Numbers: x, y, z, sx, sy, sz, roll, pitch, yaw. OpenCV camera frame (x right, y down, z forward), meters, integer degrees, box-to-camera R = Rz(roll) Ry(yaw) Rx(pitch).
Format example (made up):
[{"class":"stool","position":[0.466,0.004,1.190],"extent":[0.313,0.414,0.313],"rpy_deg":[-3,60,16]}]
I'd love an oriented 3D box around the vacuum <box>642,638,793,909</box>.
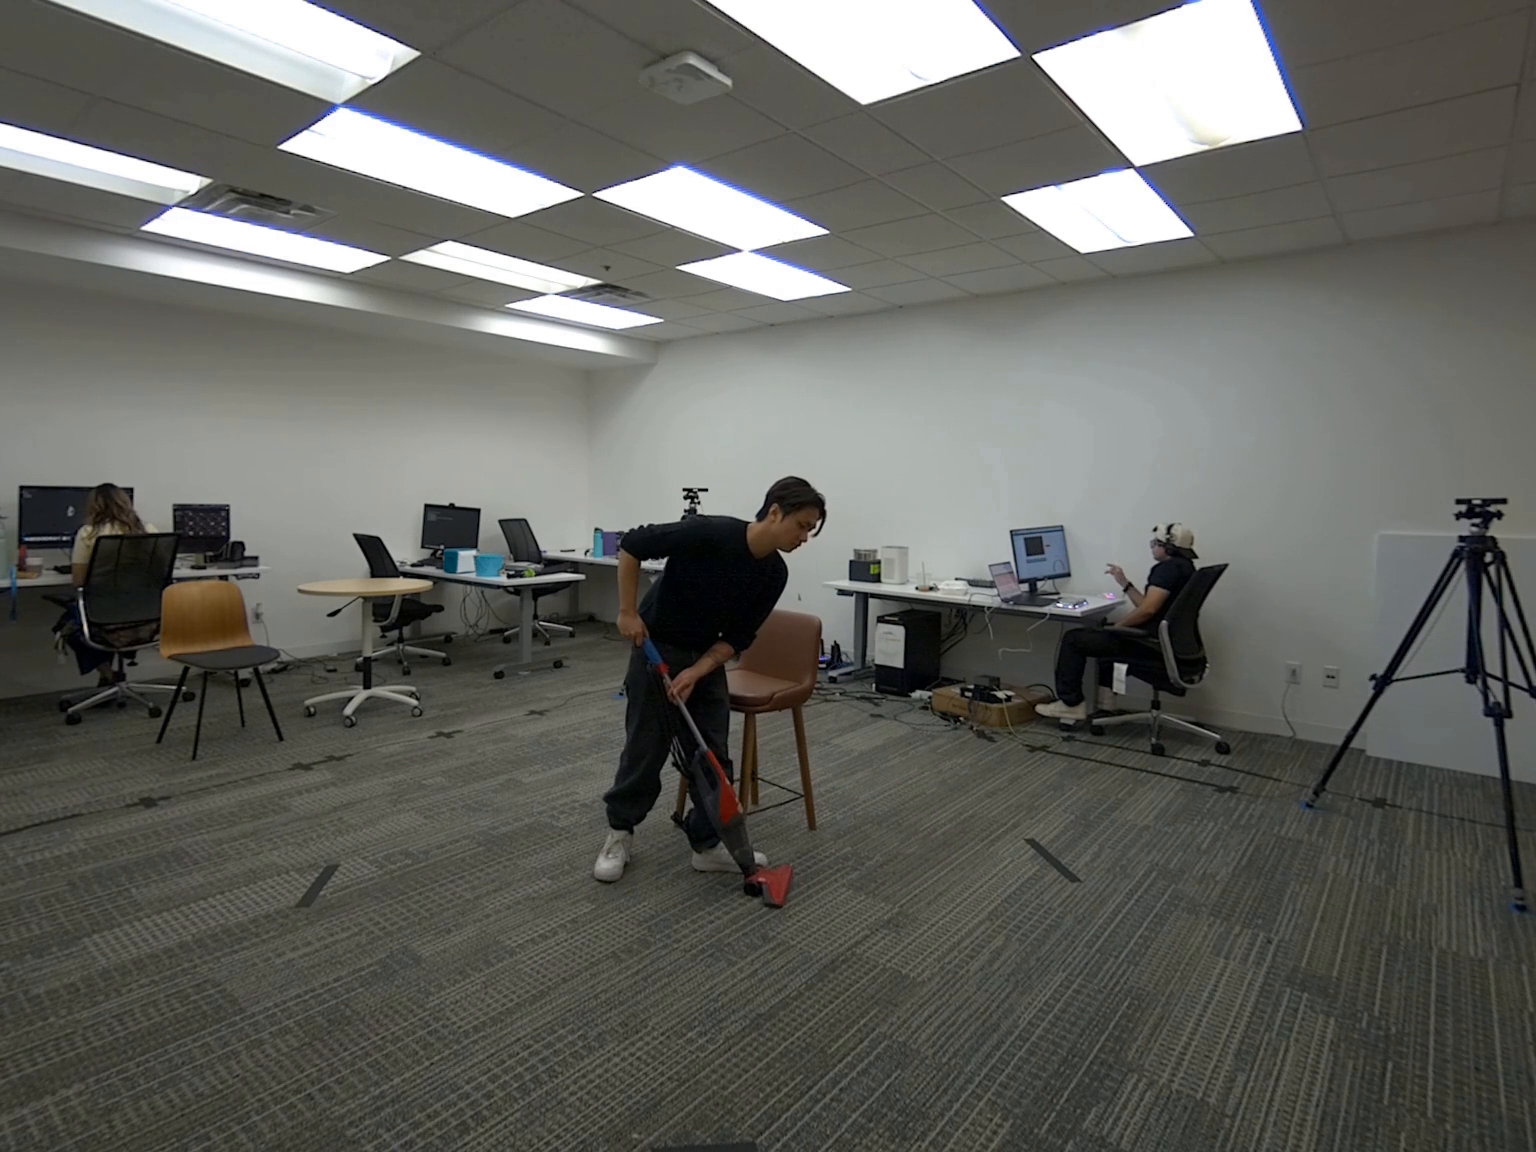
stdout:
[{"class":"vacuum","position":[-0.239,0.633,2.955],"extent":[0.145,1.050,0.251],"rpy_deg":[-30,0,15]}]
